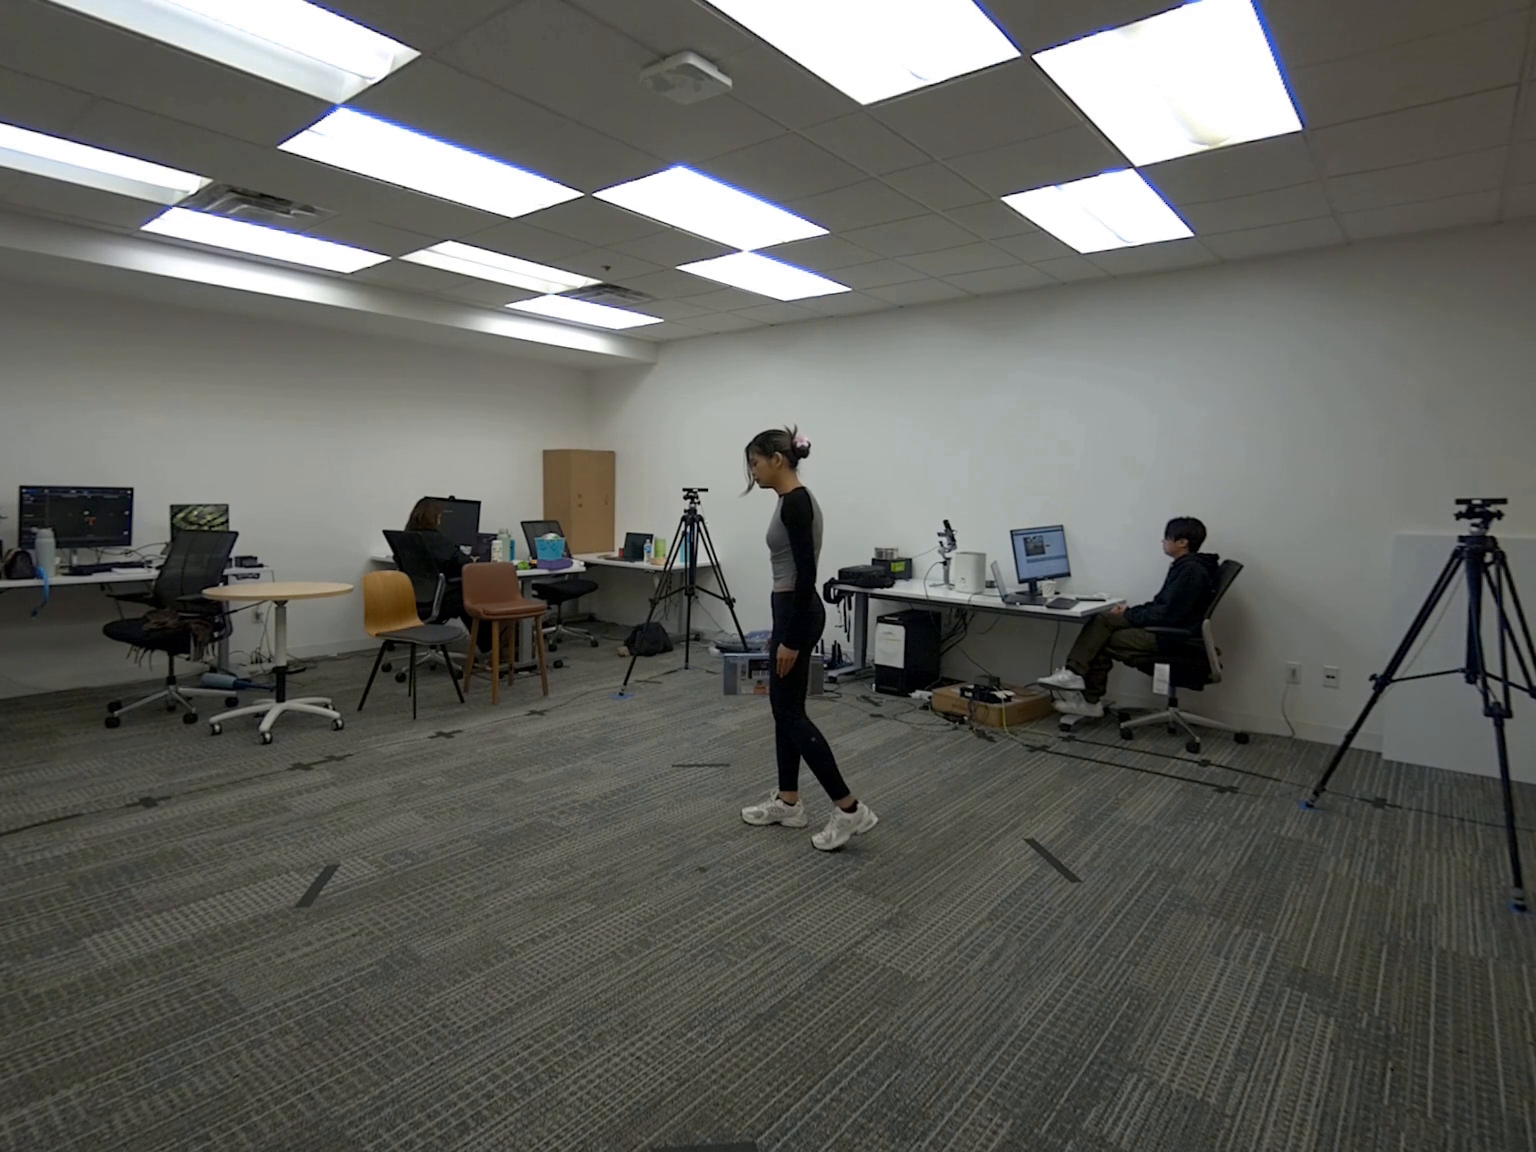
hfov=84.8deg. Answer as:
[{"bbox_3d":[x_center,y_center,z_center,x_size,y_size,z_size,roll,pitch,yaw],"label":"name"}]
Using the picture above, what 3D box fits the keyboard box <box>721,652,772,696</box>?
[{"bbox_3d":[0.015,0.420,3.696,0.433,0.176,0.059,0,1,-7],"label":"keyboard box"}]
